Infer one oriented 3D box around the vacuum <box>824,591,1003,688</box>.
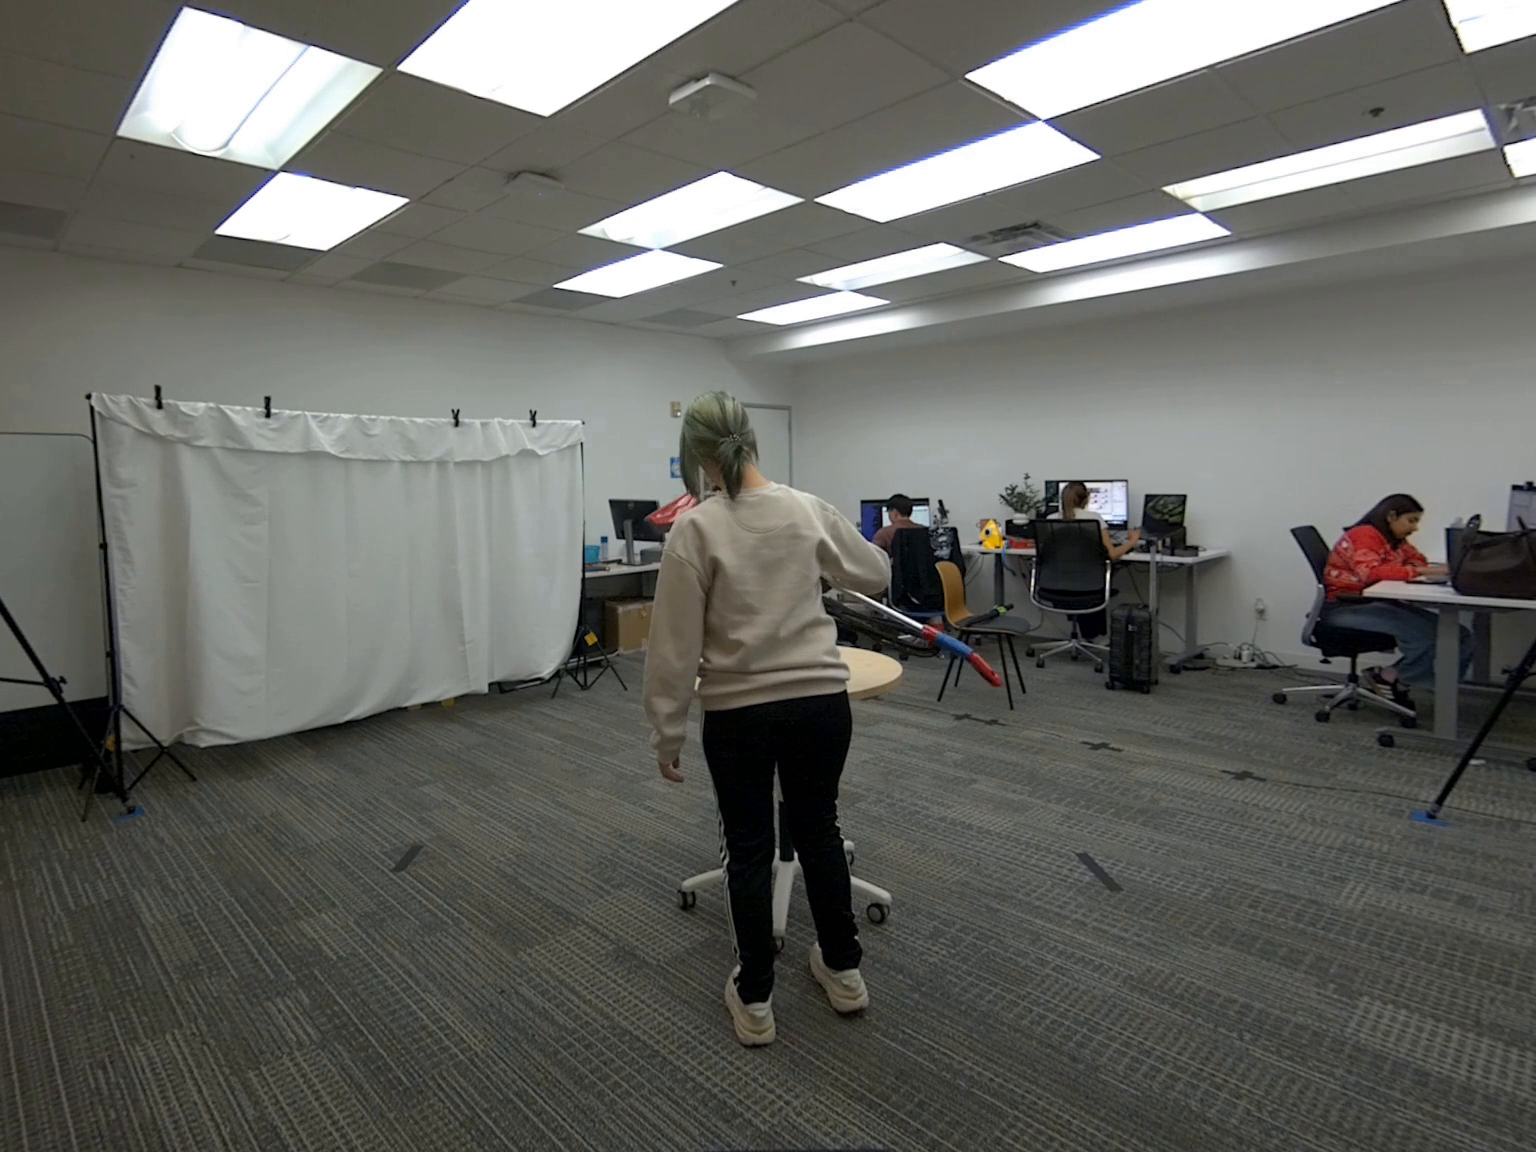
[{"bbox_3d":[0.150,0.058,2.489,1.079,0.141,0.251,28,41,23],"label":"vacuum"}]
